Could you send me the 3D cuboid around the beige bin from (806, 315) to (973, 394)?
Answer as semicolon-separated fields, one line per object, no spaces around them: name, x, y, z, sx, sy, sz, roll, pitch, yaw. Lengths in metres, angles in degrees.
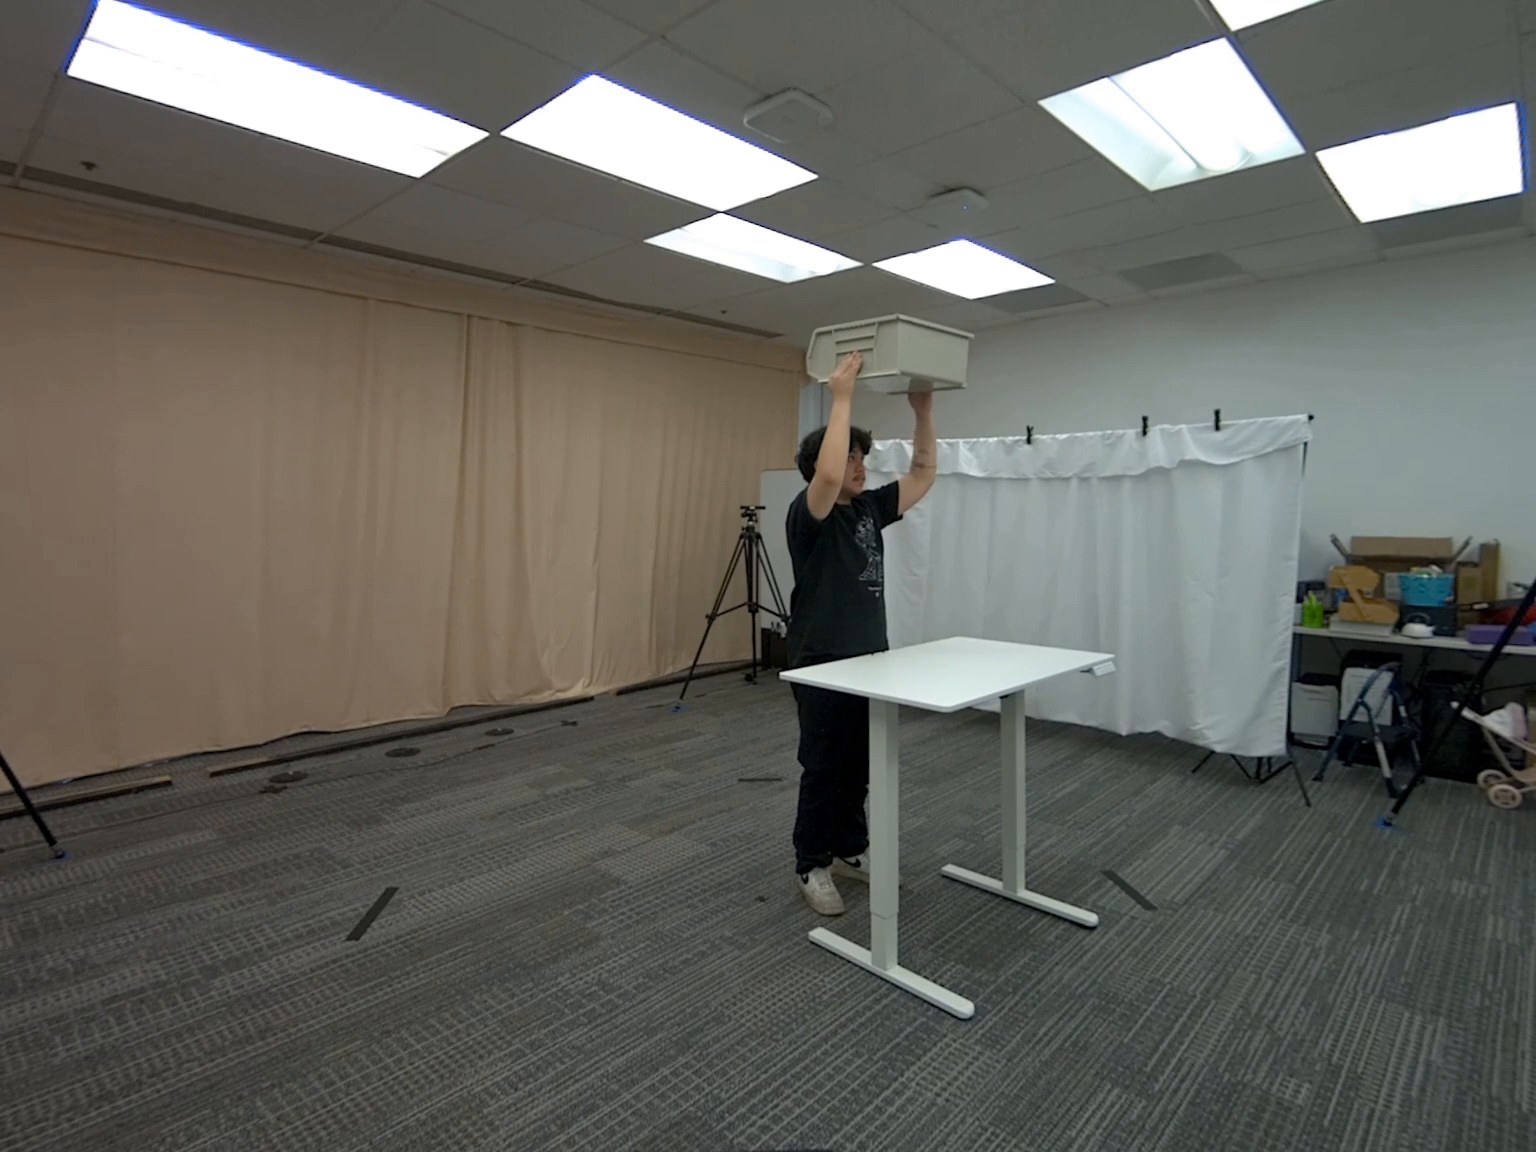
beige bin;0.412;-0.729;2.836;0.409;0.188;0.390;-3;6;-43
